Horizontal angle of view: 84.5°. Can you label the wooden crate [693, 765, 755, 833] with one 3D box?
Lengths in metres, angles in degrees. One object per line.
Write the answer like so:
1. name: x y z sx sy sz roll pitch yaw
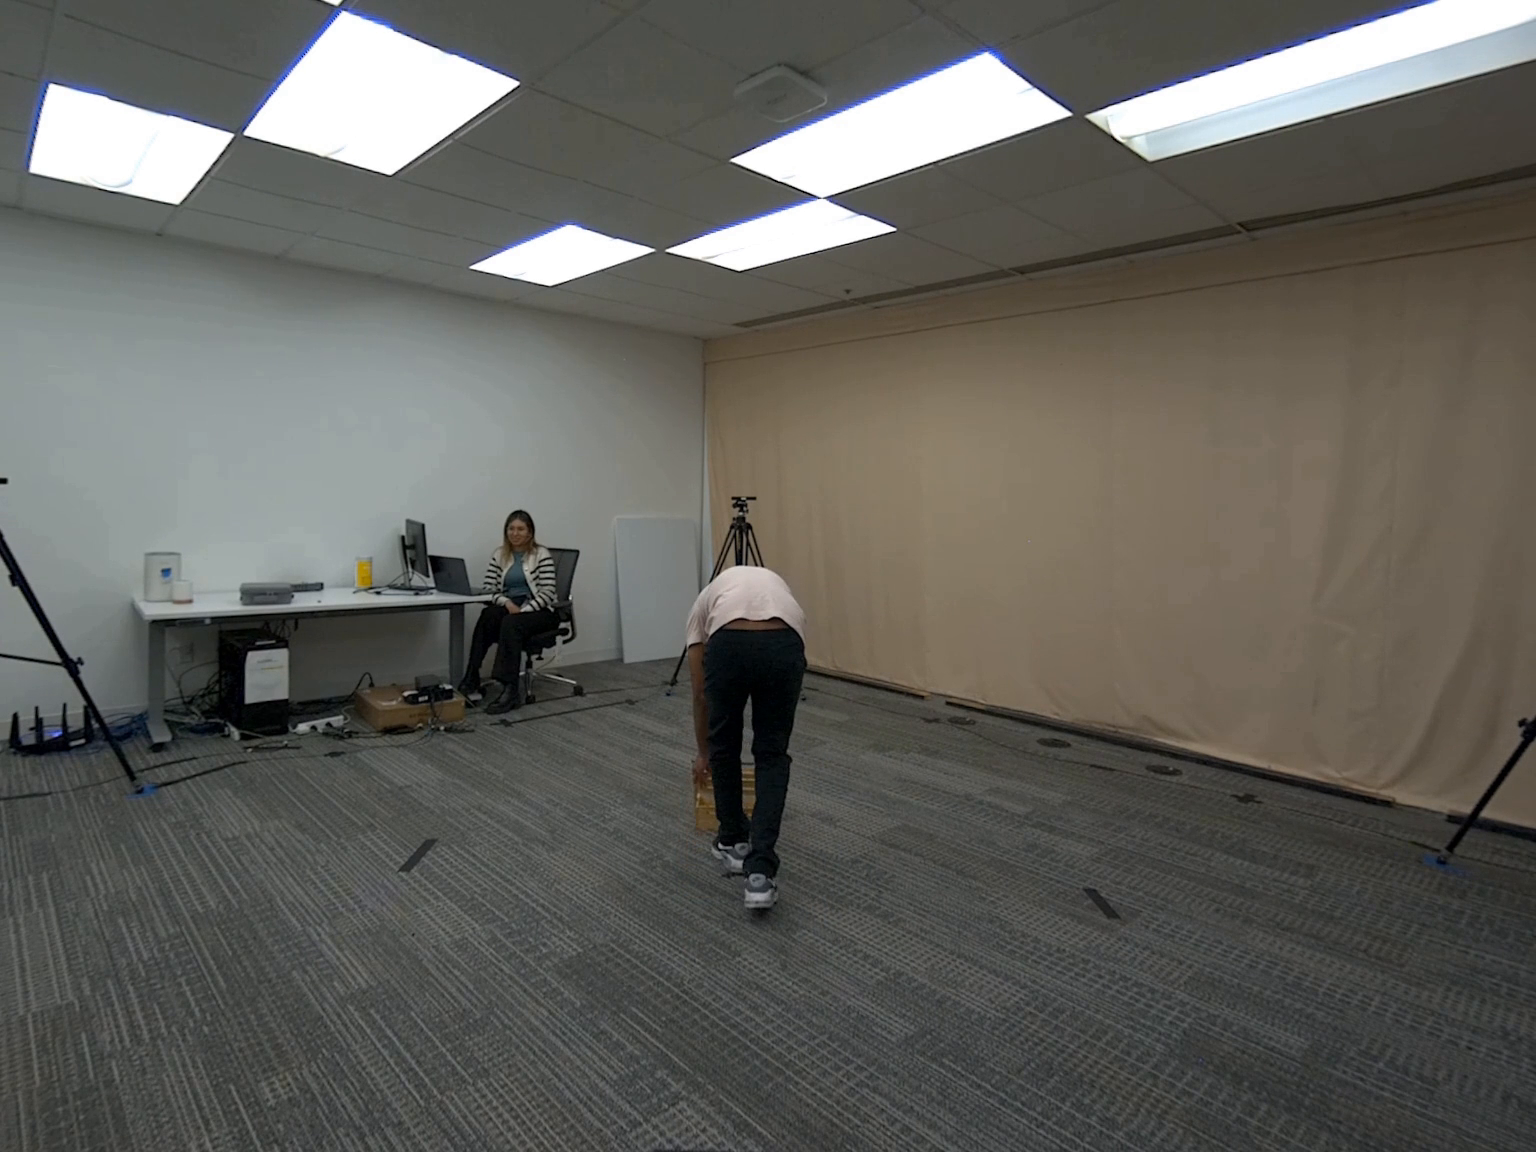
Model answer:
1. wooden crate: -0.166 0.929 3.639 0.324 0.273 0.303 1 4 -1
